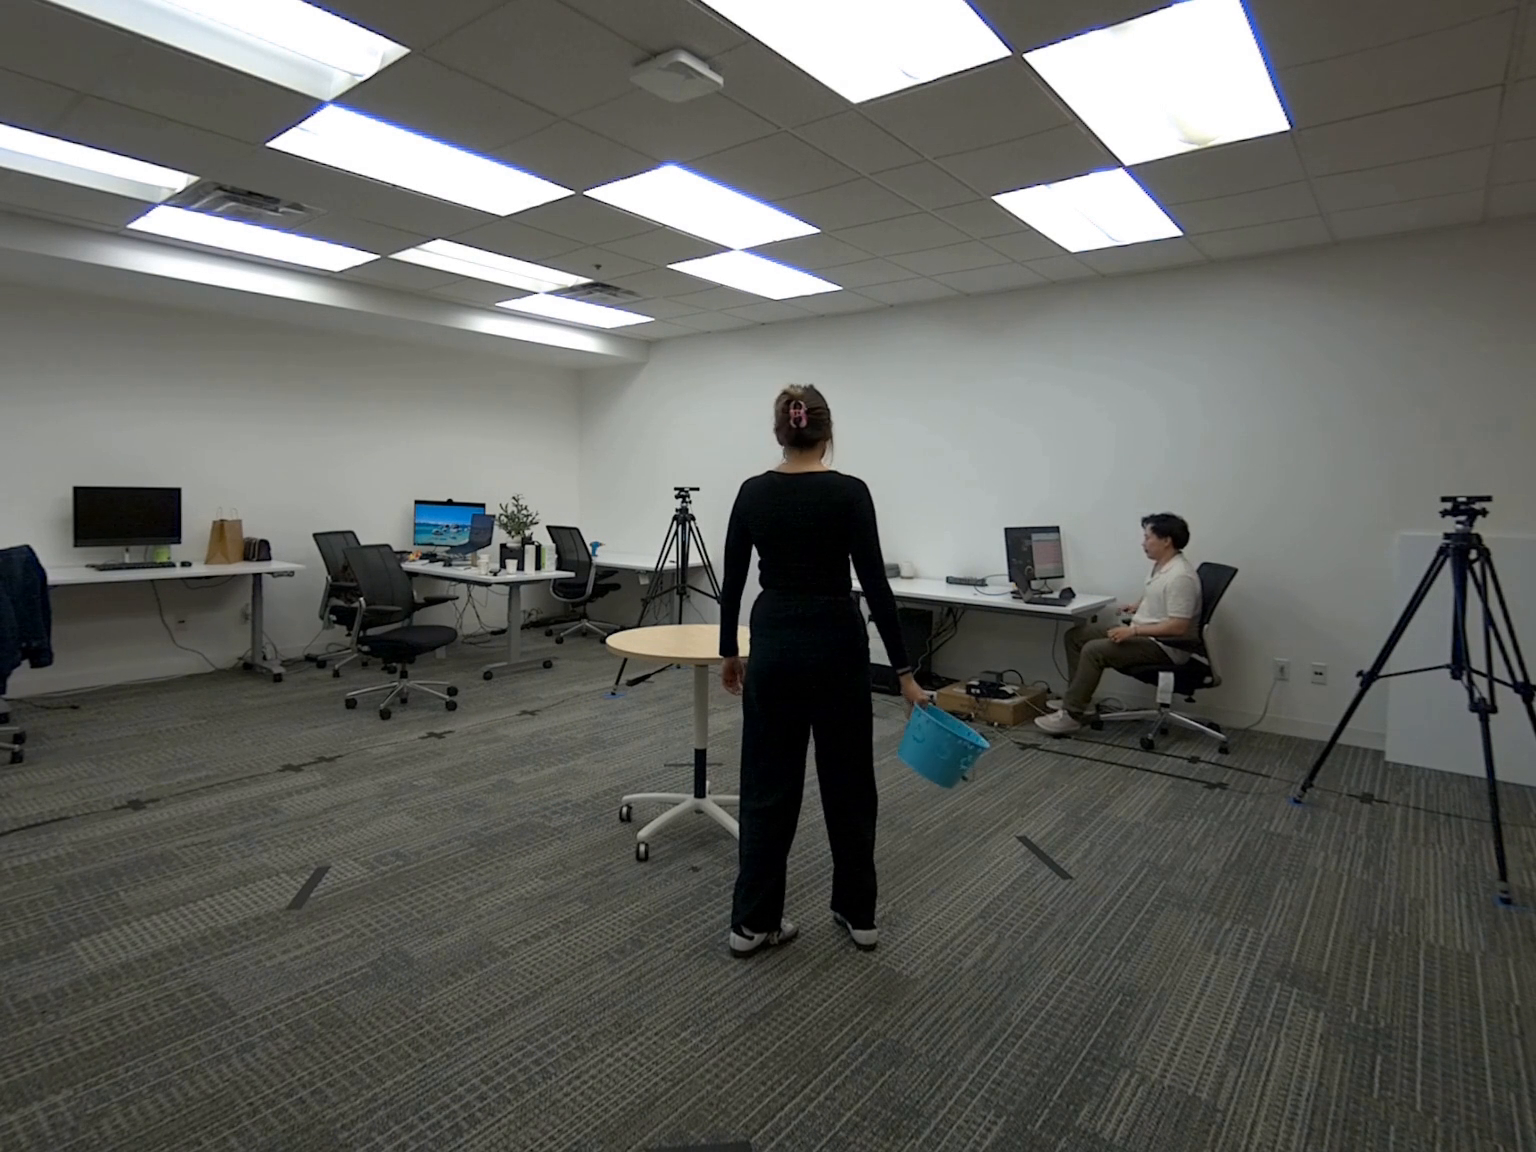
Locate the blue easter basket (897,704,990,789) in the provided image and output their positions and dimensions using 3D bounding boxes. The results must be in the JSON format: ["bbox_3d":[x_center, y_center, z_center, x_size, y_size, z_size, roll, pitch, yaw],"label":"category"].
[{"bbox_3d":[0.474,0.468,2.403,0.242,0.155,0.246,27,8,-6],"label":"blue easter basket"}]
